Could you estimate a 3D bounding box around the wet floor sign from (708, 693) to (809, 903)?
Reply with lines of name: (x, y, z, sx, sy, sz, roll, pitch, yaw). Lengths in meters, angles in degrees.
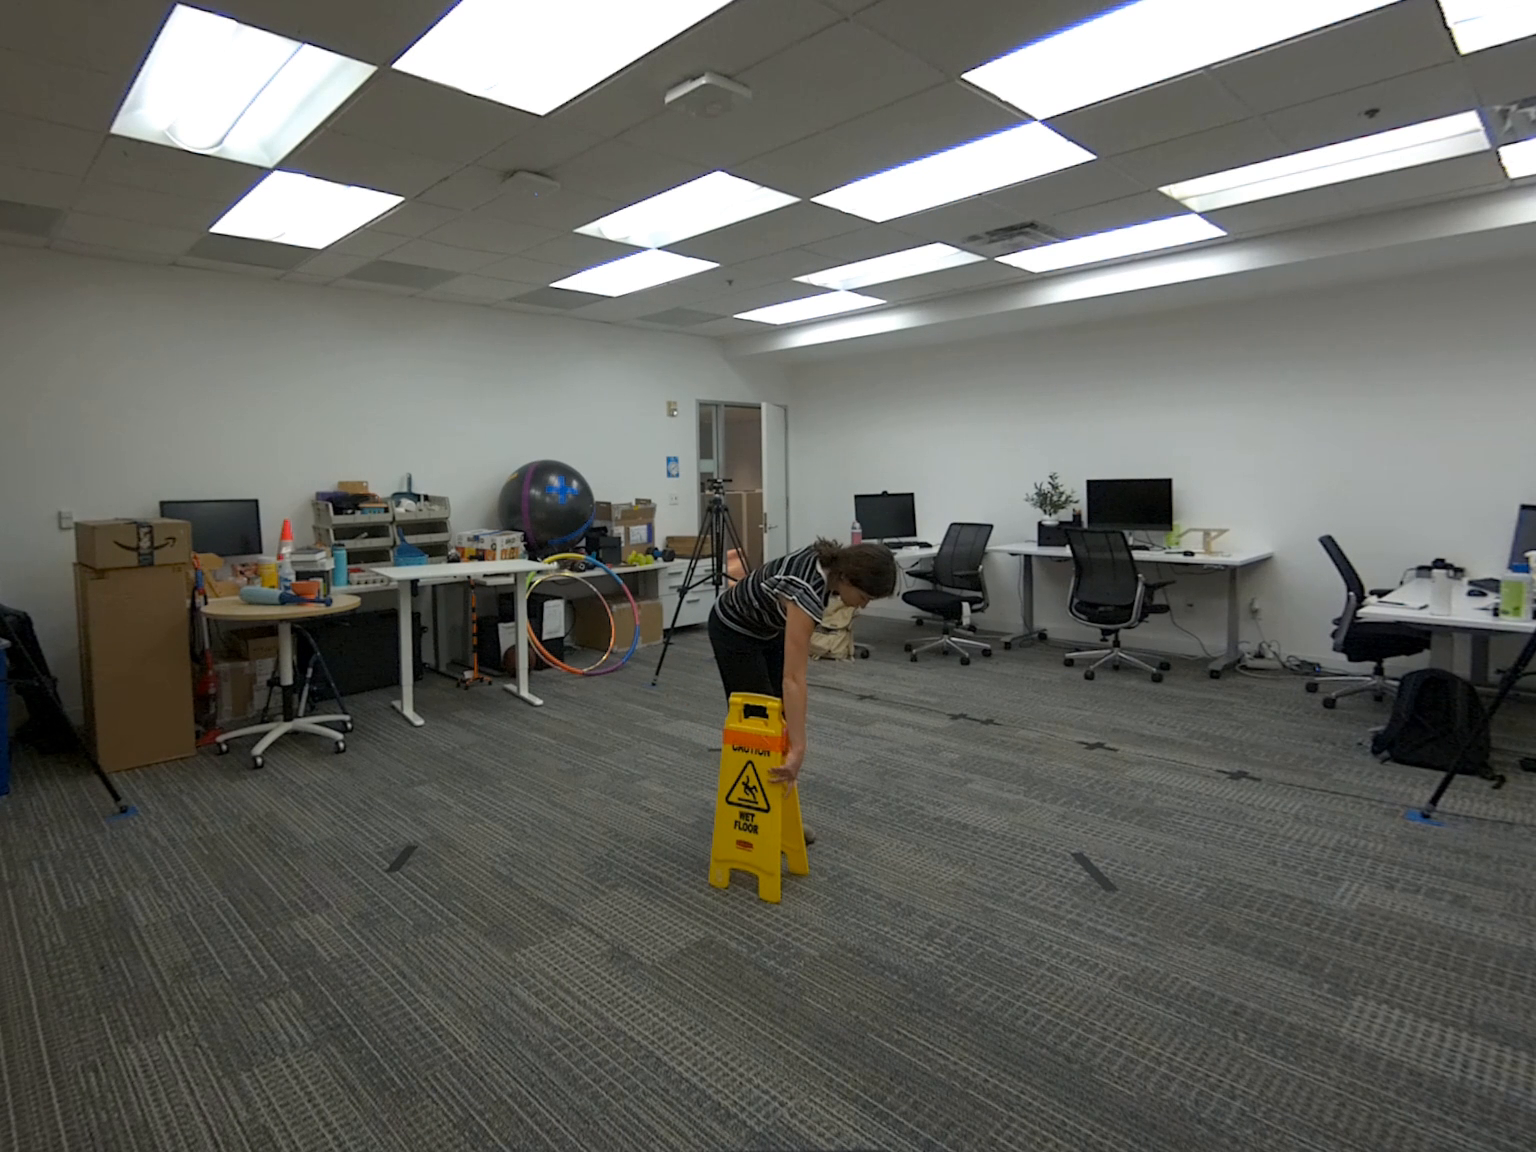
wet floor sign: (-0.037, 0.741, 2.958, 0.289, 0.644, 0.283, 0, 4, 30)
